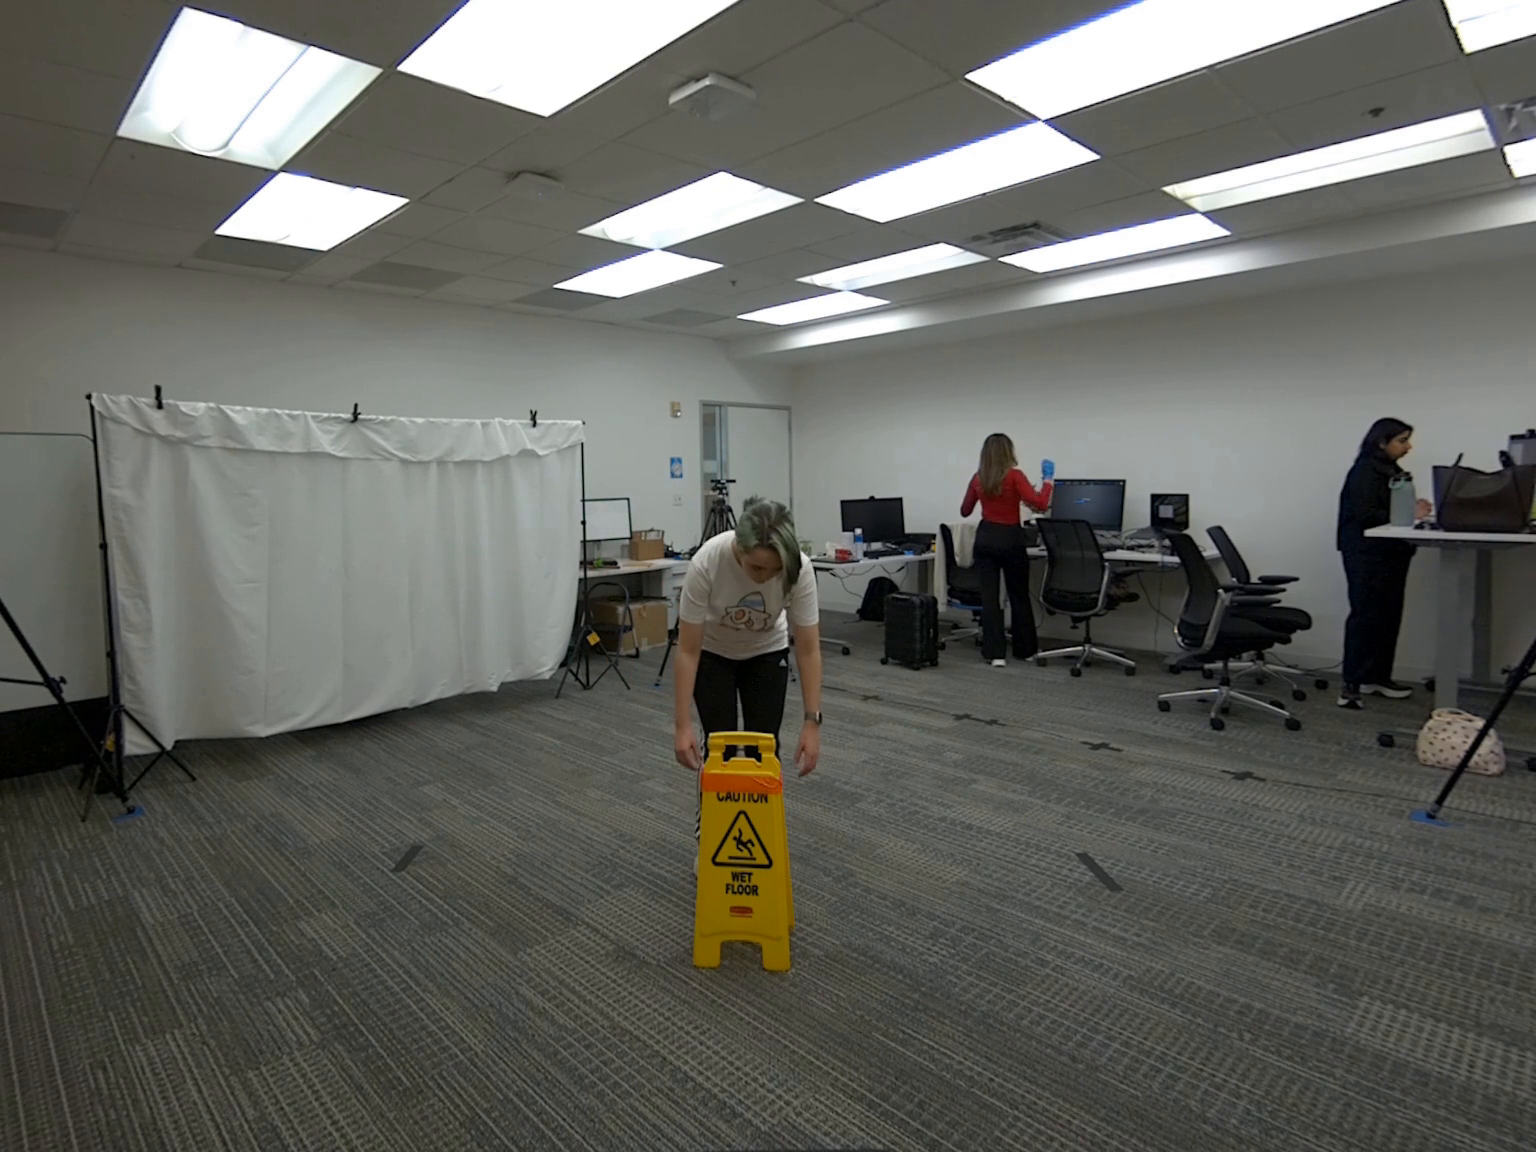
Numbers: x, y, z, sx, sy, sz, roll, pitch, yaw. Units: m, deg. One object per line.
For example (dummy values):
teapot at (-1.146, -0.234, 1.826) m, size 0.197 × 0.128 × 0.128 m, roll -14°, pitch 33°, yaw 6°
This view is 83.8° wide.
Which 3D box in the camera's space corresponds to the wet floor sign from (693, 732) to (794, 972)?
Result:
wet floor sign at (-0.081, 0.791, 2.541) m, size 0.284 × 0.643 × 0.289 m, roll -1°, pitch 5°, yaw 6°
